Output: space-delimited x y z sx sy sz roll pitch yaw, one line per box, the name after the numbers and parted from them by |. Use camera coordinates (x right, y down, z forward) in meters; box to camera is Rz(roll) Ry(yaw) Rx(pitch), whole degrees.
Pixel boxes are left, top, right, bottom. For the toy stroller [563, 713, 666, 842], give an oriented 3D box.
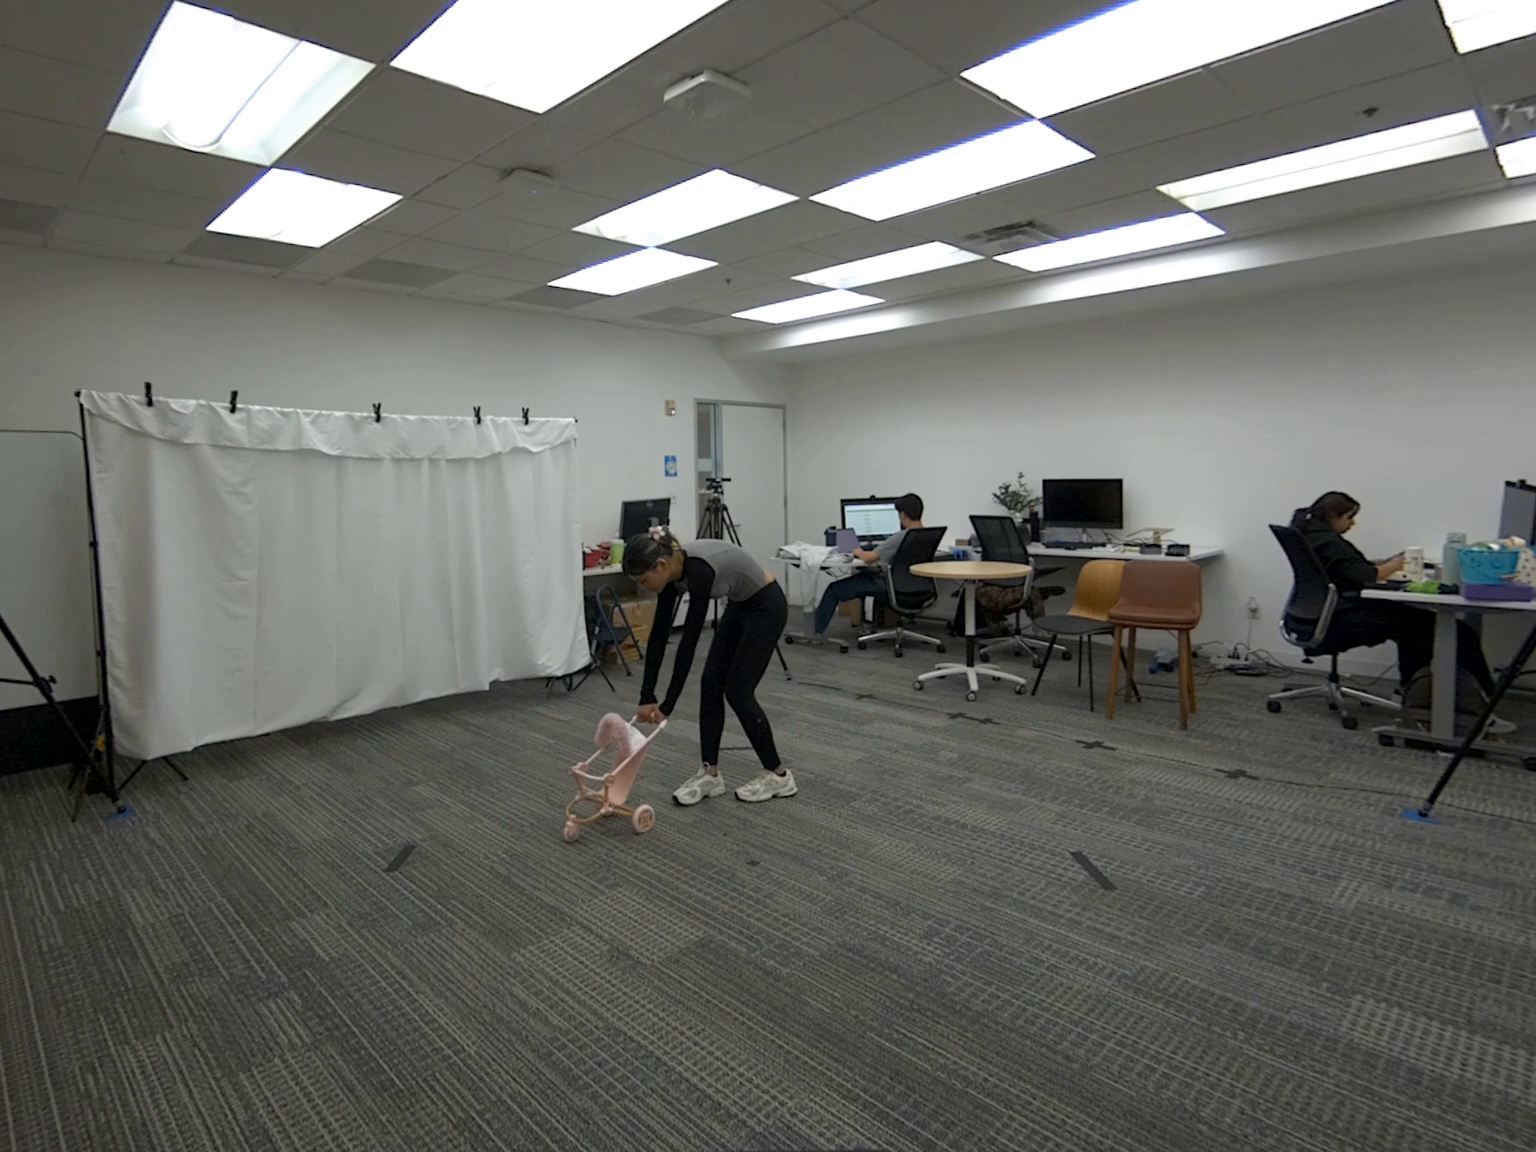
-0.625 0.788 3.435 0.330 0.537 0.290 16 -8 -38 | toy stroller
